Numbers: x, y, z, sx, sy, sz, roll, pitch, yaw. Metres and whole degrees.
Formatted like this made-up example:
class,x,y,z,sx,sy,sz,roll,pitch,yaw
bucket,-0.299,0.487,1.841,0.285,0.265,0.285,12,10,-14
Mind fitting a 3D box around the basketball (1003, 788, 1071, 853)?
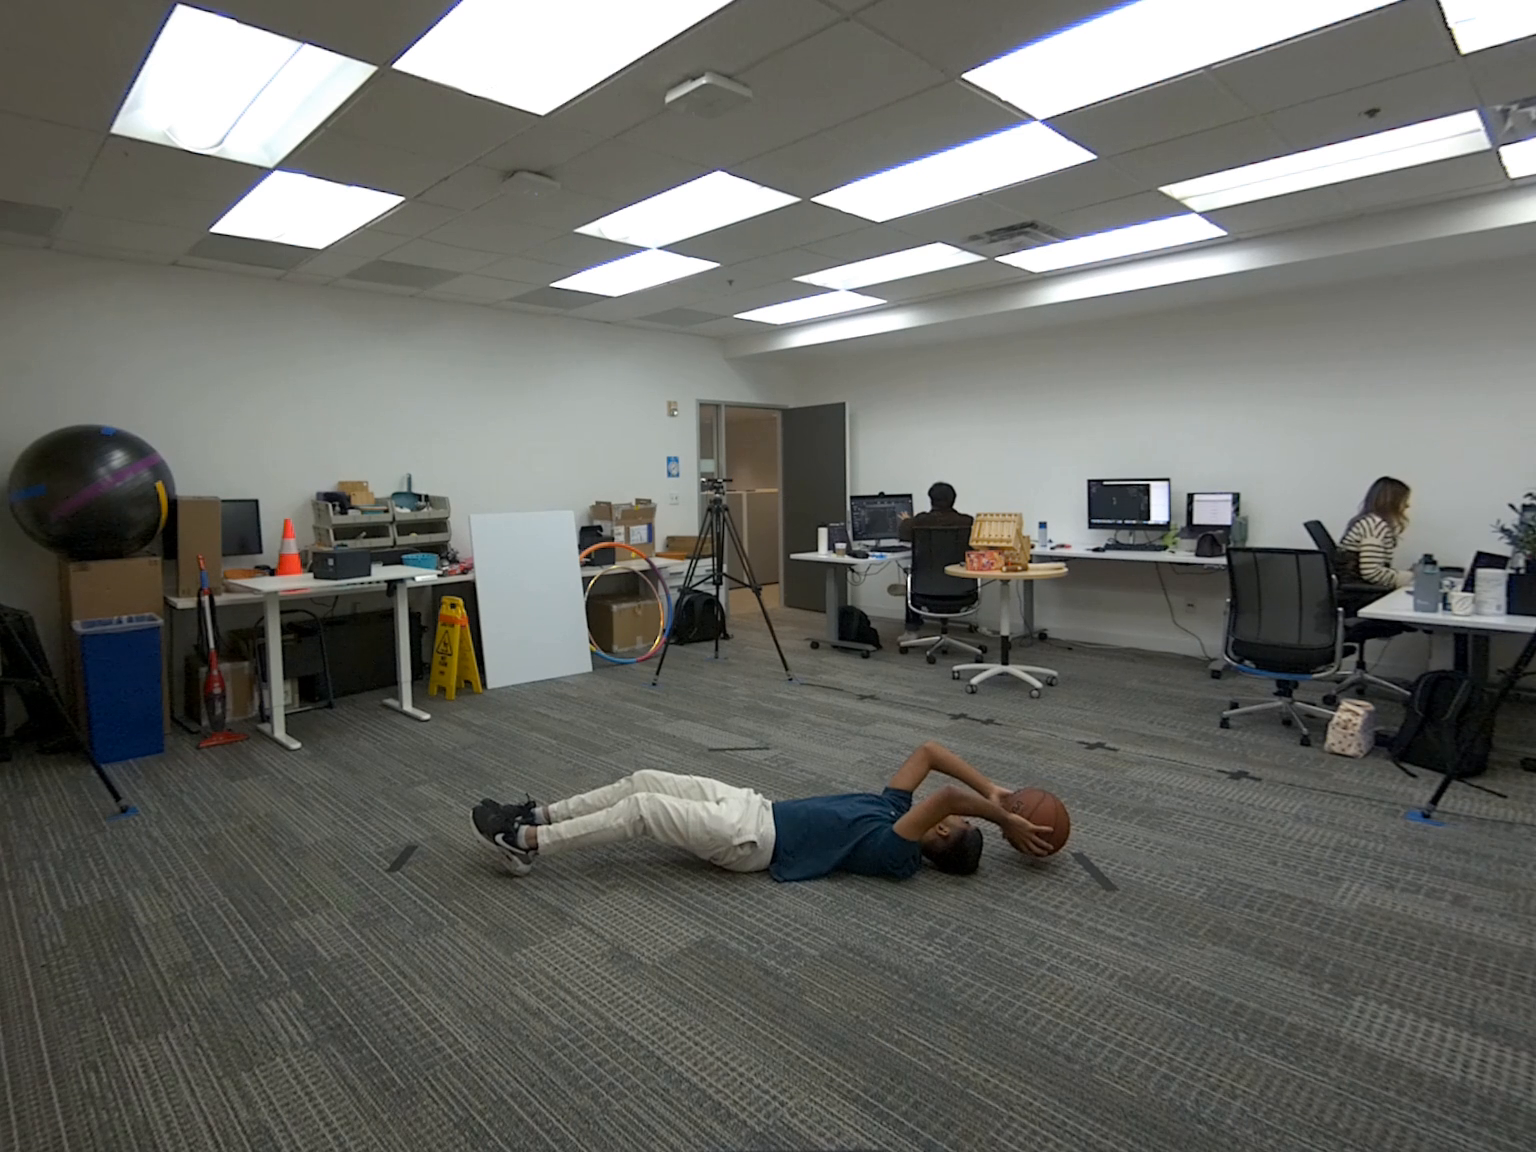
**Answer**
class,x,y,z,sx,sy,sz,roll,pitch,yaw
basketball,0.972,0.888,3.078,0.236,0.235,0.237,-1,5,-2
